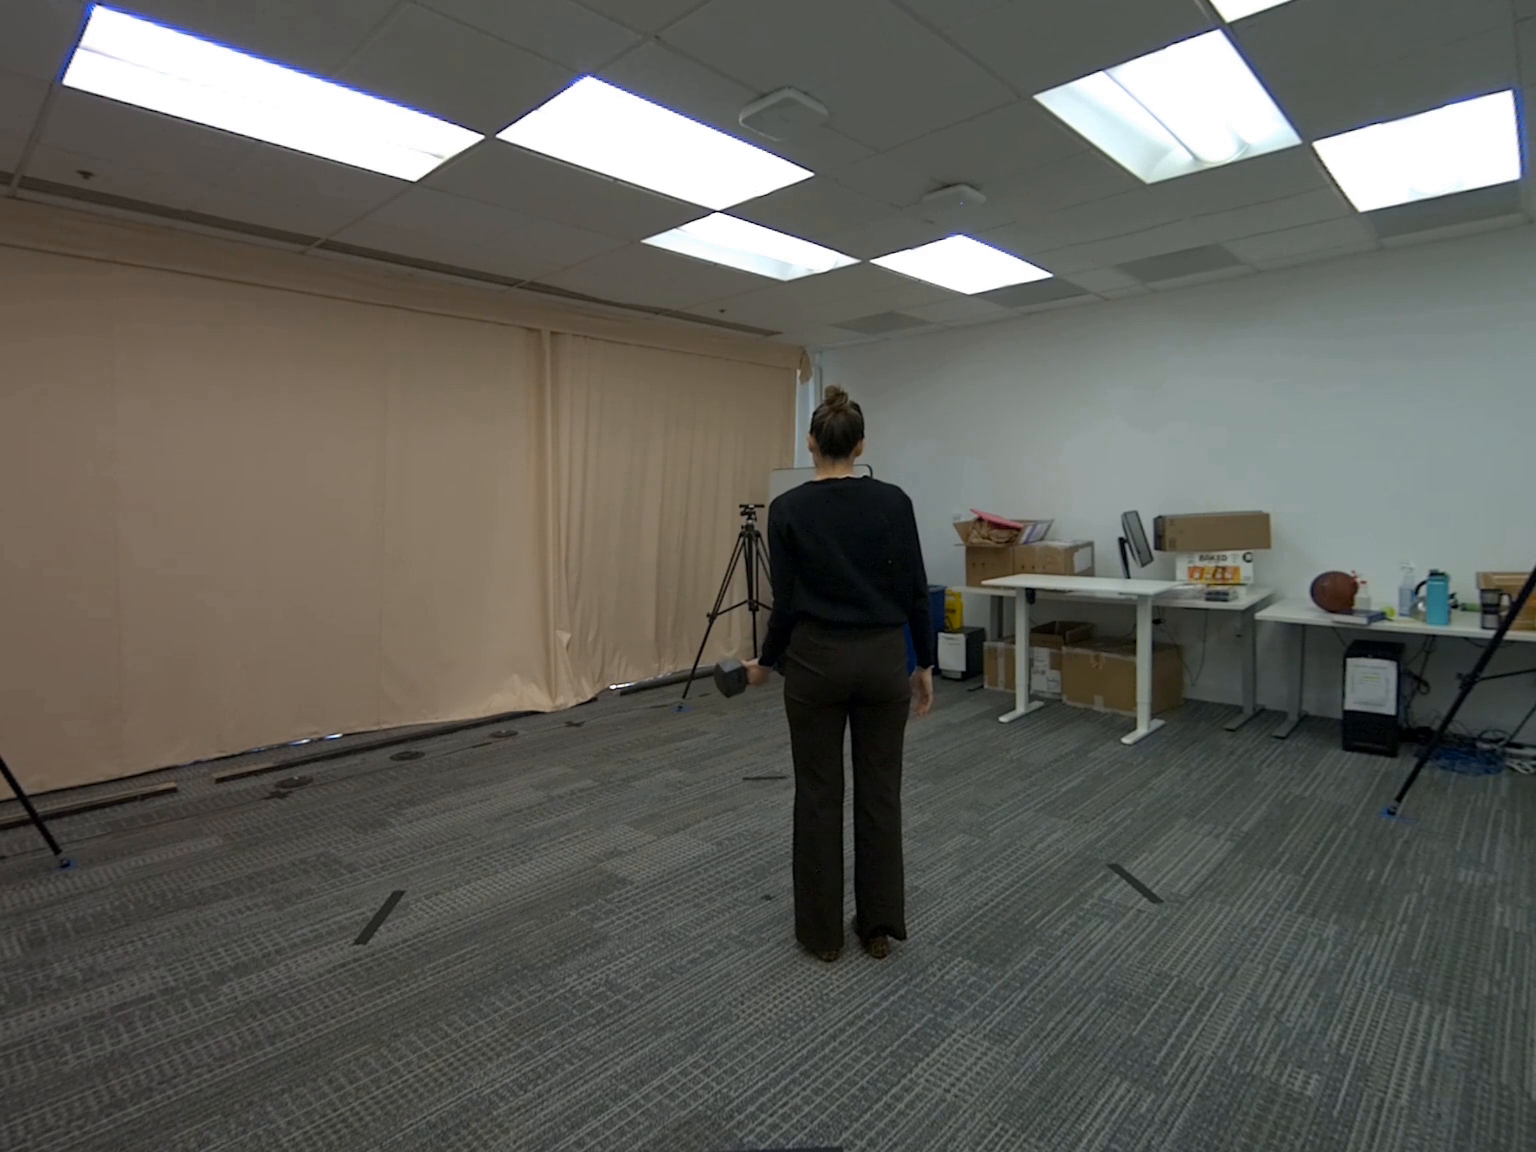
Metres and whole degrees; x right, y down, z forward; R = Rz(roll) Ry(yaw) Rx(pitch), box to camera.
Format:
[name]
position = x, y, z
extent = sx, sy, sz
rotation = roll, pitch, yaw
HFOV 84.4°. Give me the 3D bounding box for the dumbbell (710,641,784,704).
[dumbbell]
position = -0.027, 0.296, 2.791
extent = 0.288, 0.111, 0.122
rotation = -19, -27, -23
